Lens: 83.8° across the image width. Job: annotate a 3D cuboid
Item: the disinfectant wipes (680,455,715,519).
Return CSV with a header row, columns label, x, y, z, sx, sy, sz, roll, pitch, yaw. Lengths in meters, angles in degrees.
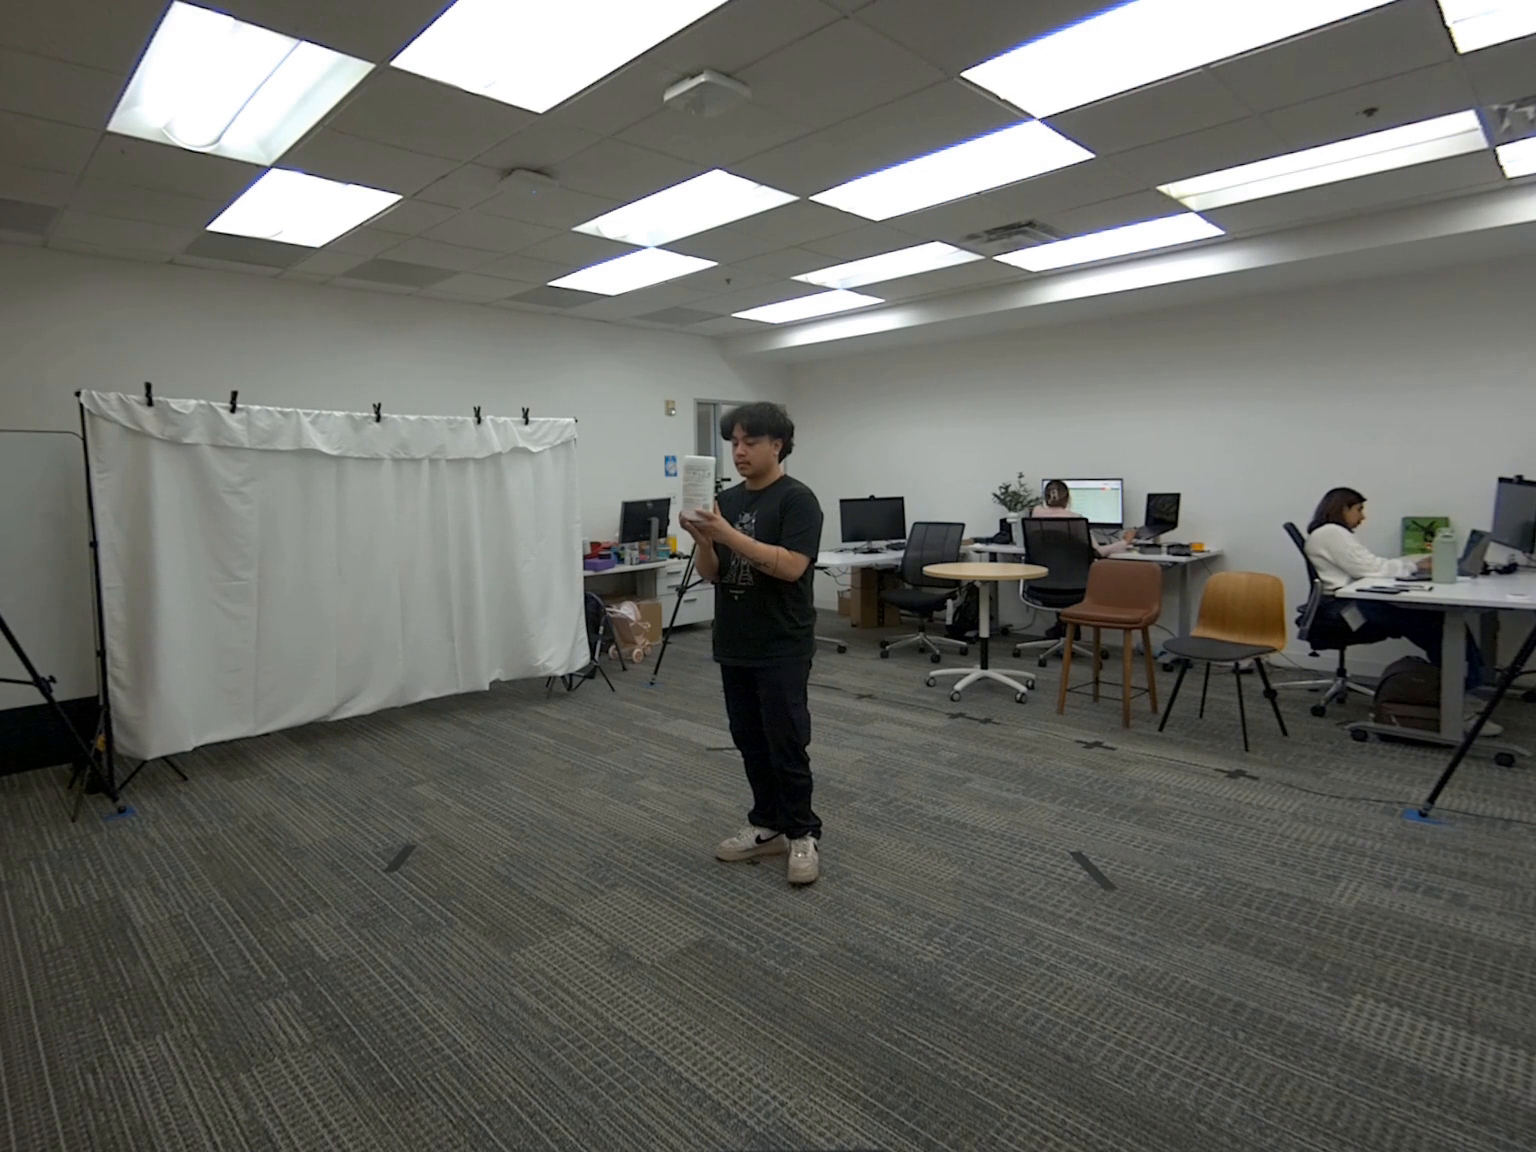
label,x,y,z,sx,sy,sz,roll,pitch,yaw
disinfectant wipes,-0.239,-0.291,2.869,0.117,0.216,0.119,3,9,-2
